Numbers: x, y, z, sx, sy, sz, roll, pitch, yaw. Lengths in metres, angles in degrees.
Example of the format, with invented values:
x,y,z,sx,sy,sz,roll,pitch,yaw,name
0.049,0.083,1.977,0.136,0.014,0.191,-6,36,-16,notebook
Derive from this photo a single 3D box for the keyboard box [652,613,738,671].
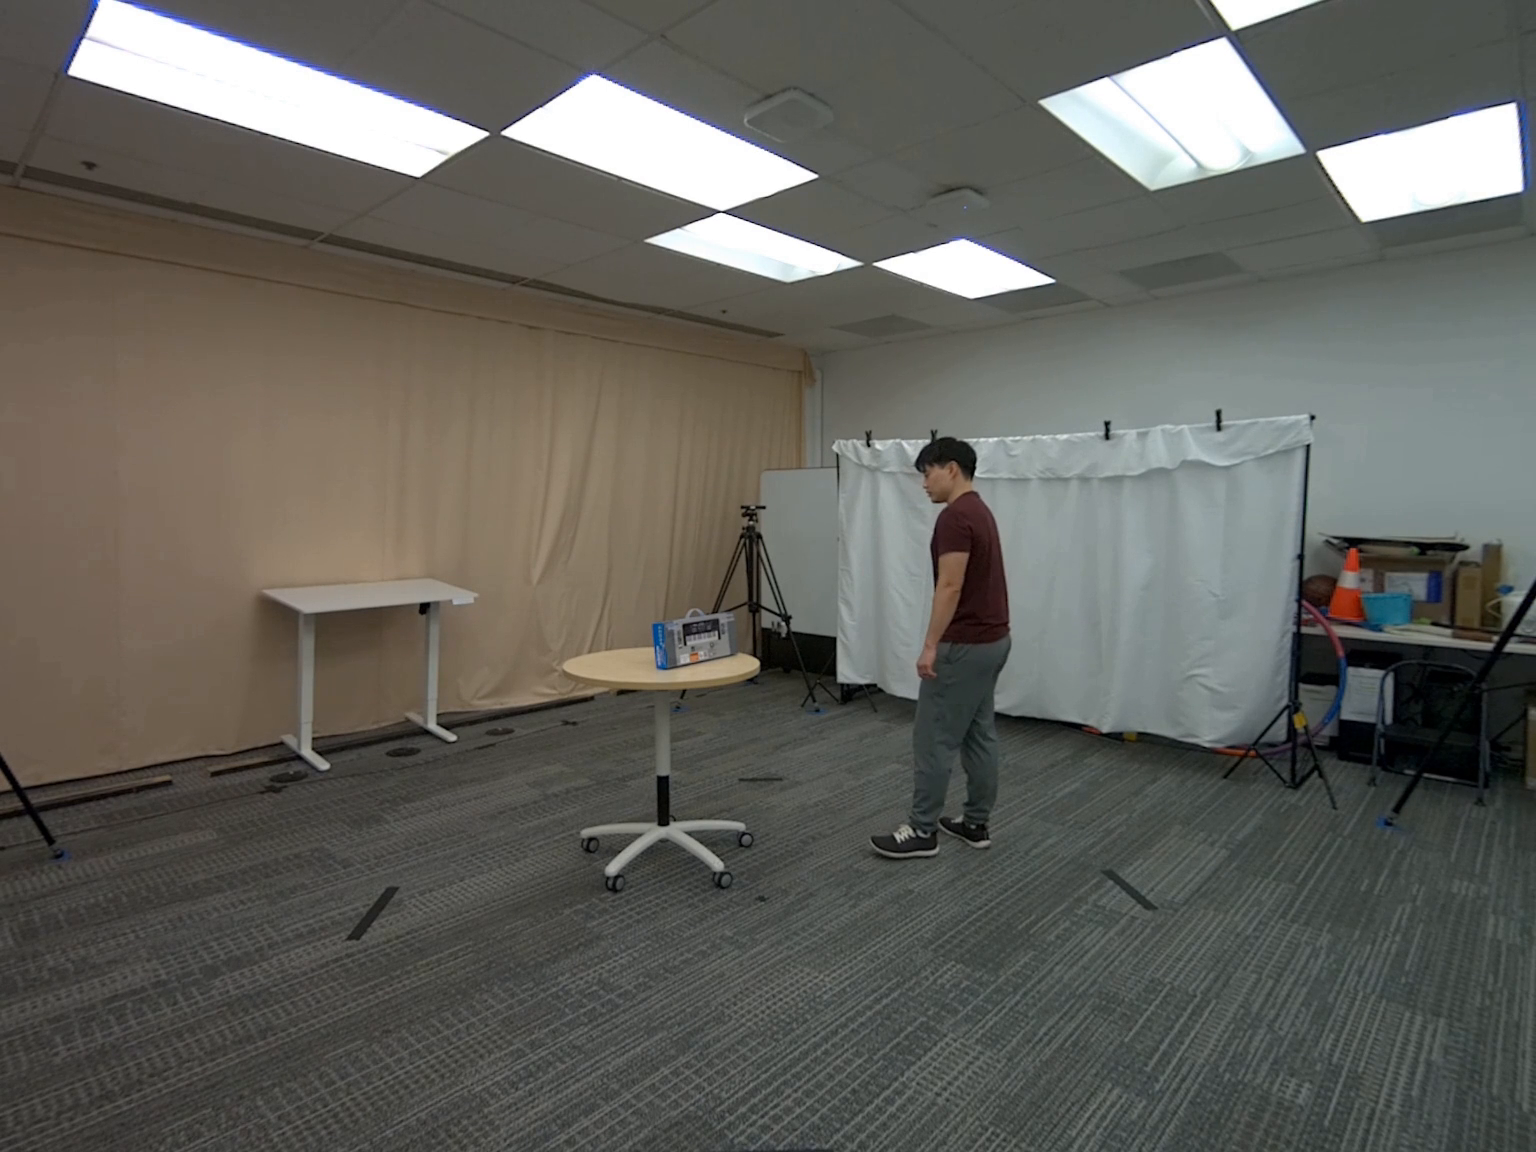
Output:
x,y,z,sx,sy,sz,roll,pitch,yaw,name
-0.275,0.251,3.324,0.061,0.176,0.424,-7,-1,37,keyboard box
